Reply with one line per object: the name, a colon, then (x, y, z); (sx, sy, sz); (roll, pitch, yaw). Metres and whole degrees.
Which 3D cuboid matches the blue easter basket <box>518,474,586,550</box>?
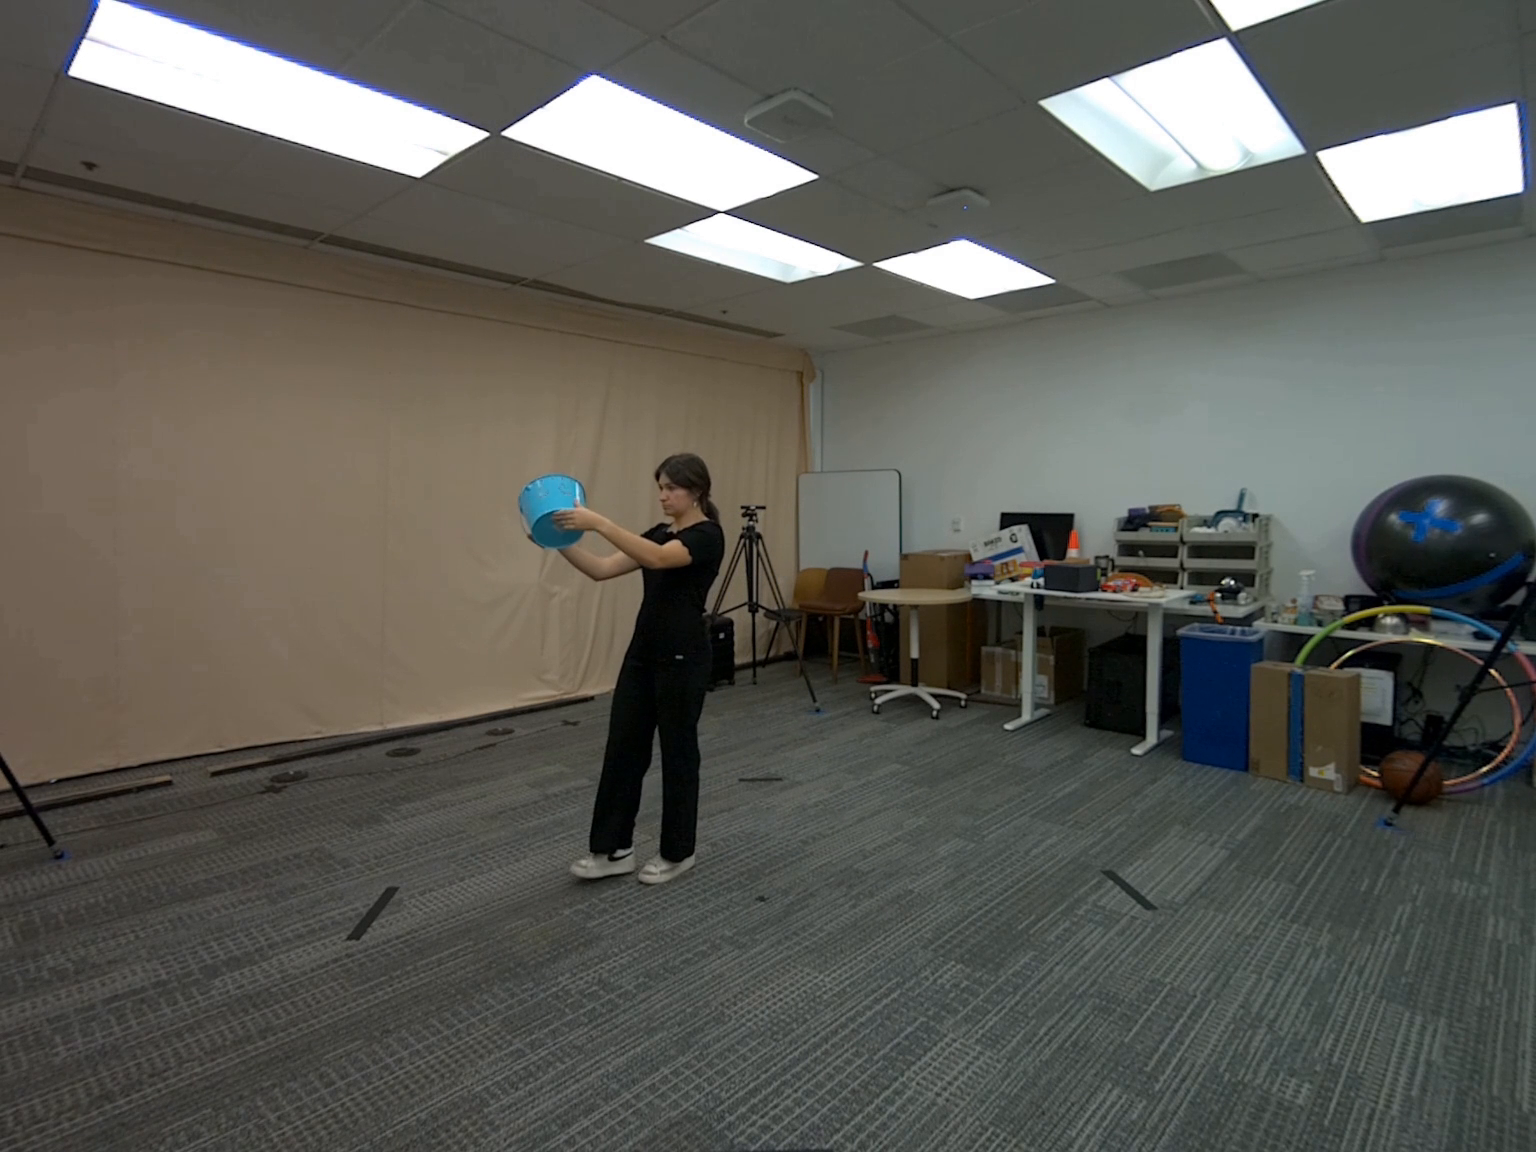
blue easter basket: (-0.725, -0.204, 2.883); (0.238, 0.242, 0.160); (-1, 45, -23)
